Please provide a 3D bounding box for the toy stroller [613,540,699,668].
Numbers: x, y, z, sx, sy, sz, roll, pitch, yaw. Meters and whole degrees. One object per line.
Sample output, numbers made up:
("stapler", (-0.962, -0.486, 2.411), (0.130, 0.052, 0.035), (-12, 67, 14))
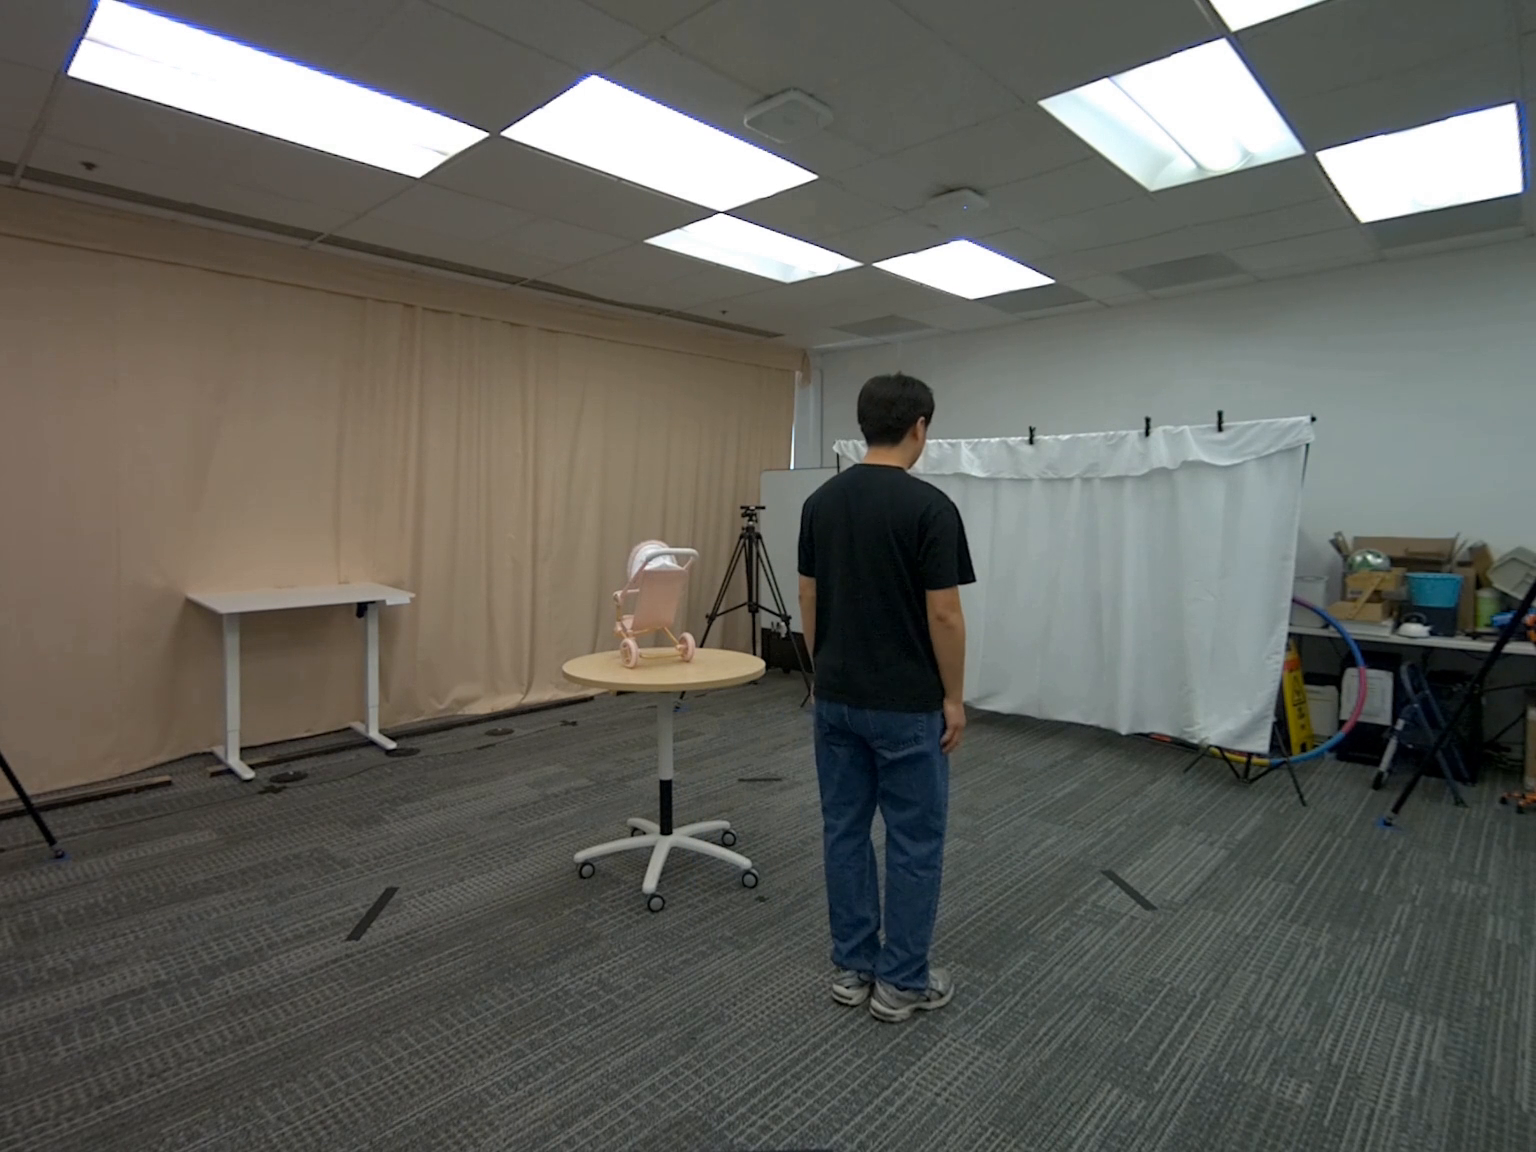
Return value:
("toy stroller", (-0.444, 0.105, 3.229), (0.274, 0.531, 0.353), (-1, 18, -30))
